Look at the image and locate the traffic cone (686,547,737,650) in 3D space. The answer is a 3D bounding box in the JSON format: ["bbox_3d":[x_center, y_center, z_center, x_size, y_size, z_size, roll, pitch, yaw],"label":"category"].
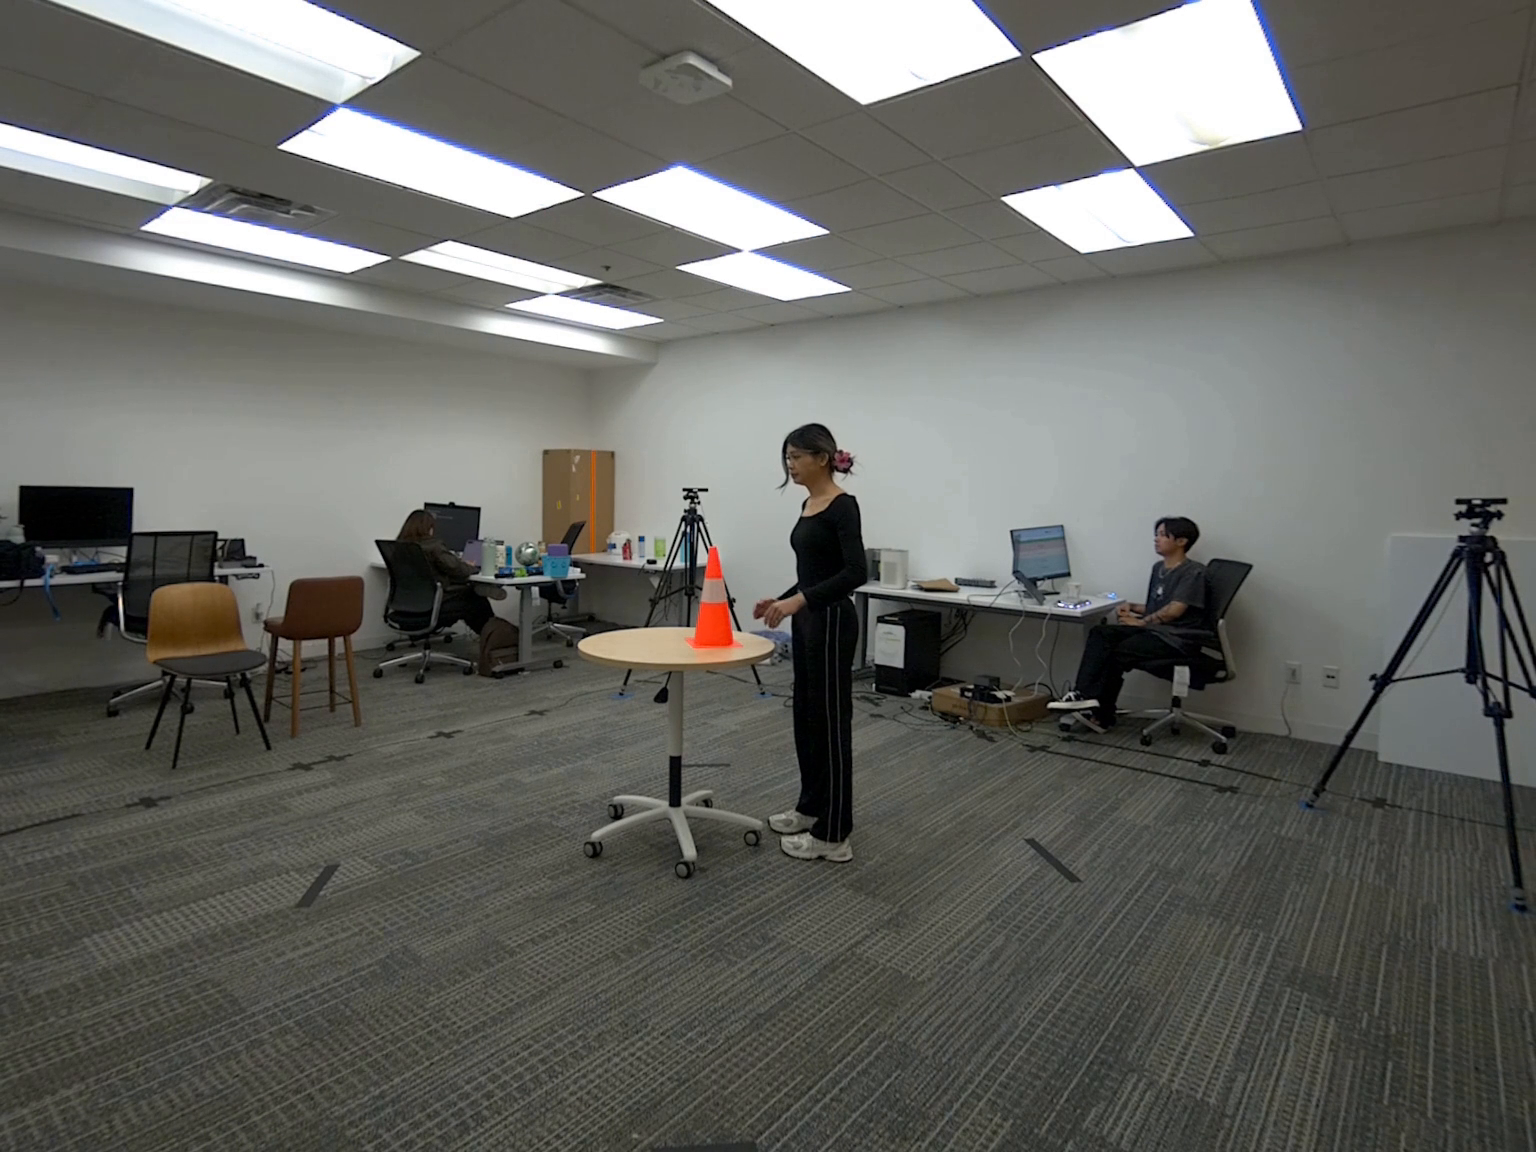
[{"bbox_3d":[-0.222,0.074,3.346,0.200,0.383,0.209,1,3,-16],"label":"traffic cone"}]
